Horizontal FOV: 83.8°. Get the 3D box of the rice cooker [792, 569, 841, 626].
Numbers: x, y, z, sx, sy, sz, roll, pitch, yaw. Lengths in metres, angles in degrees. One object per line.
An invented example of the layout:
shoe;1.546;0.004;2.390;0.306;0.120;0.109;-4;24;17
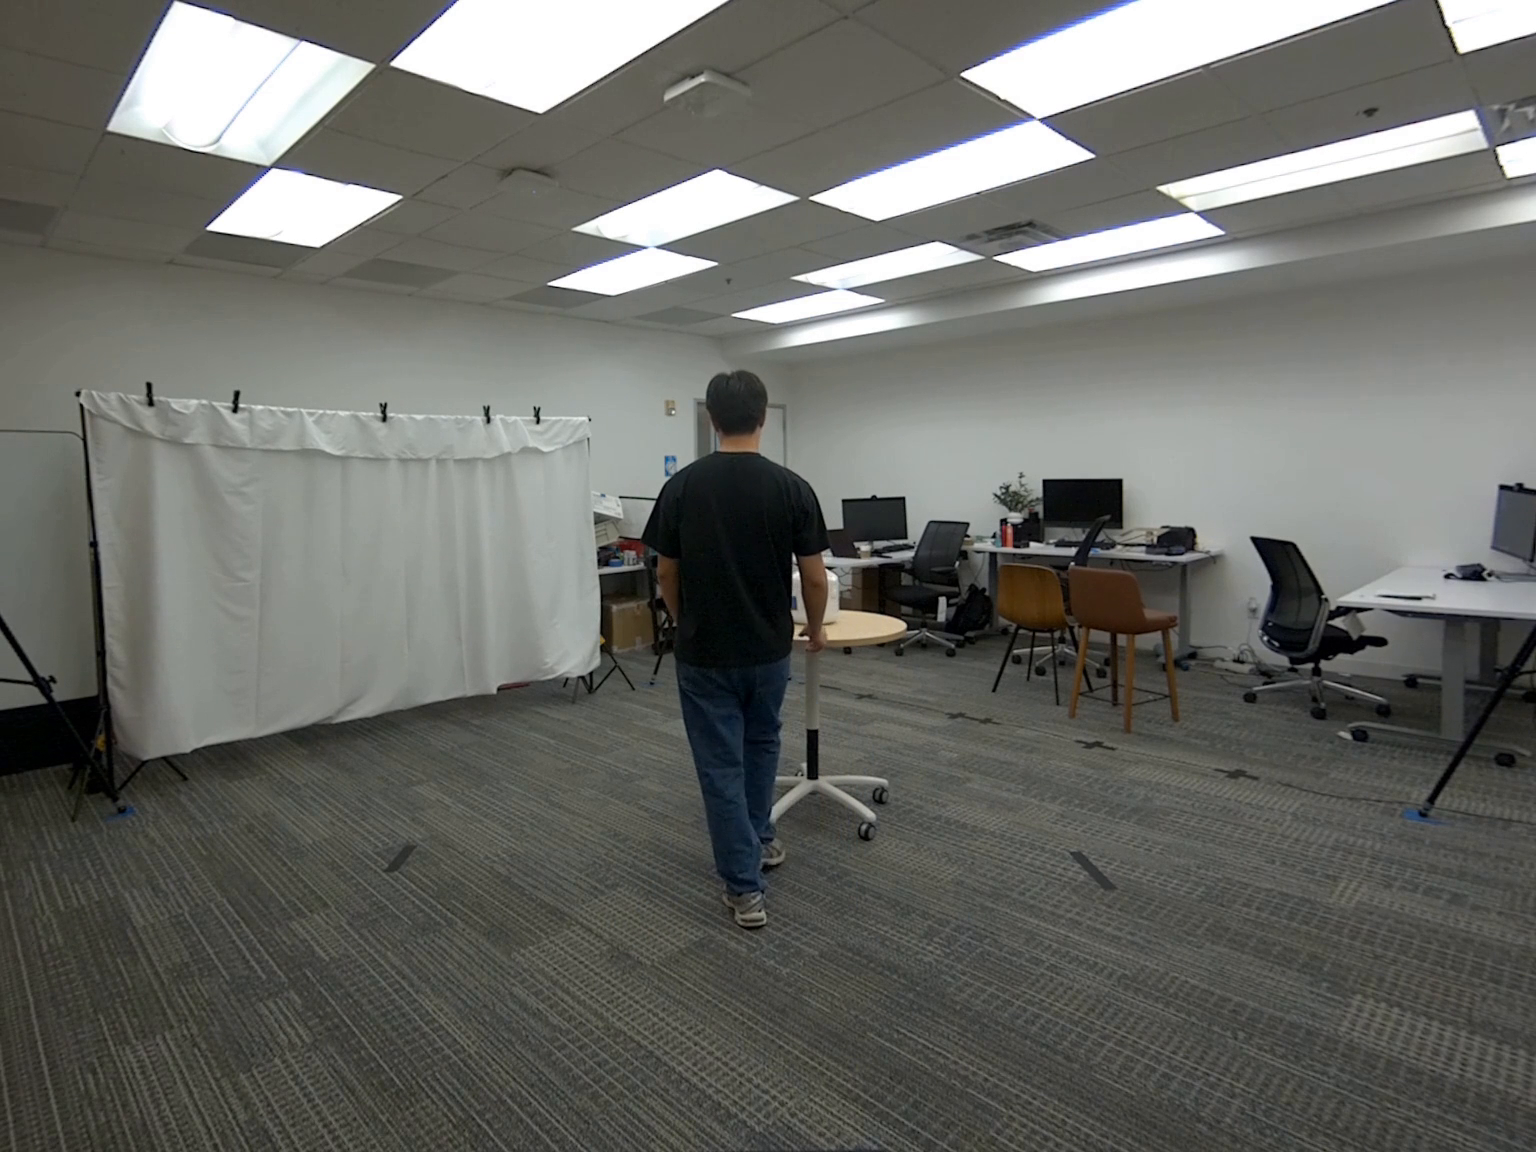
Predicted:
rice cooker;0.198;0.076;3.555;0.227;0.231;0.212;4;8;41
